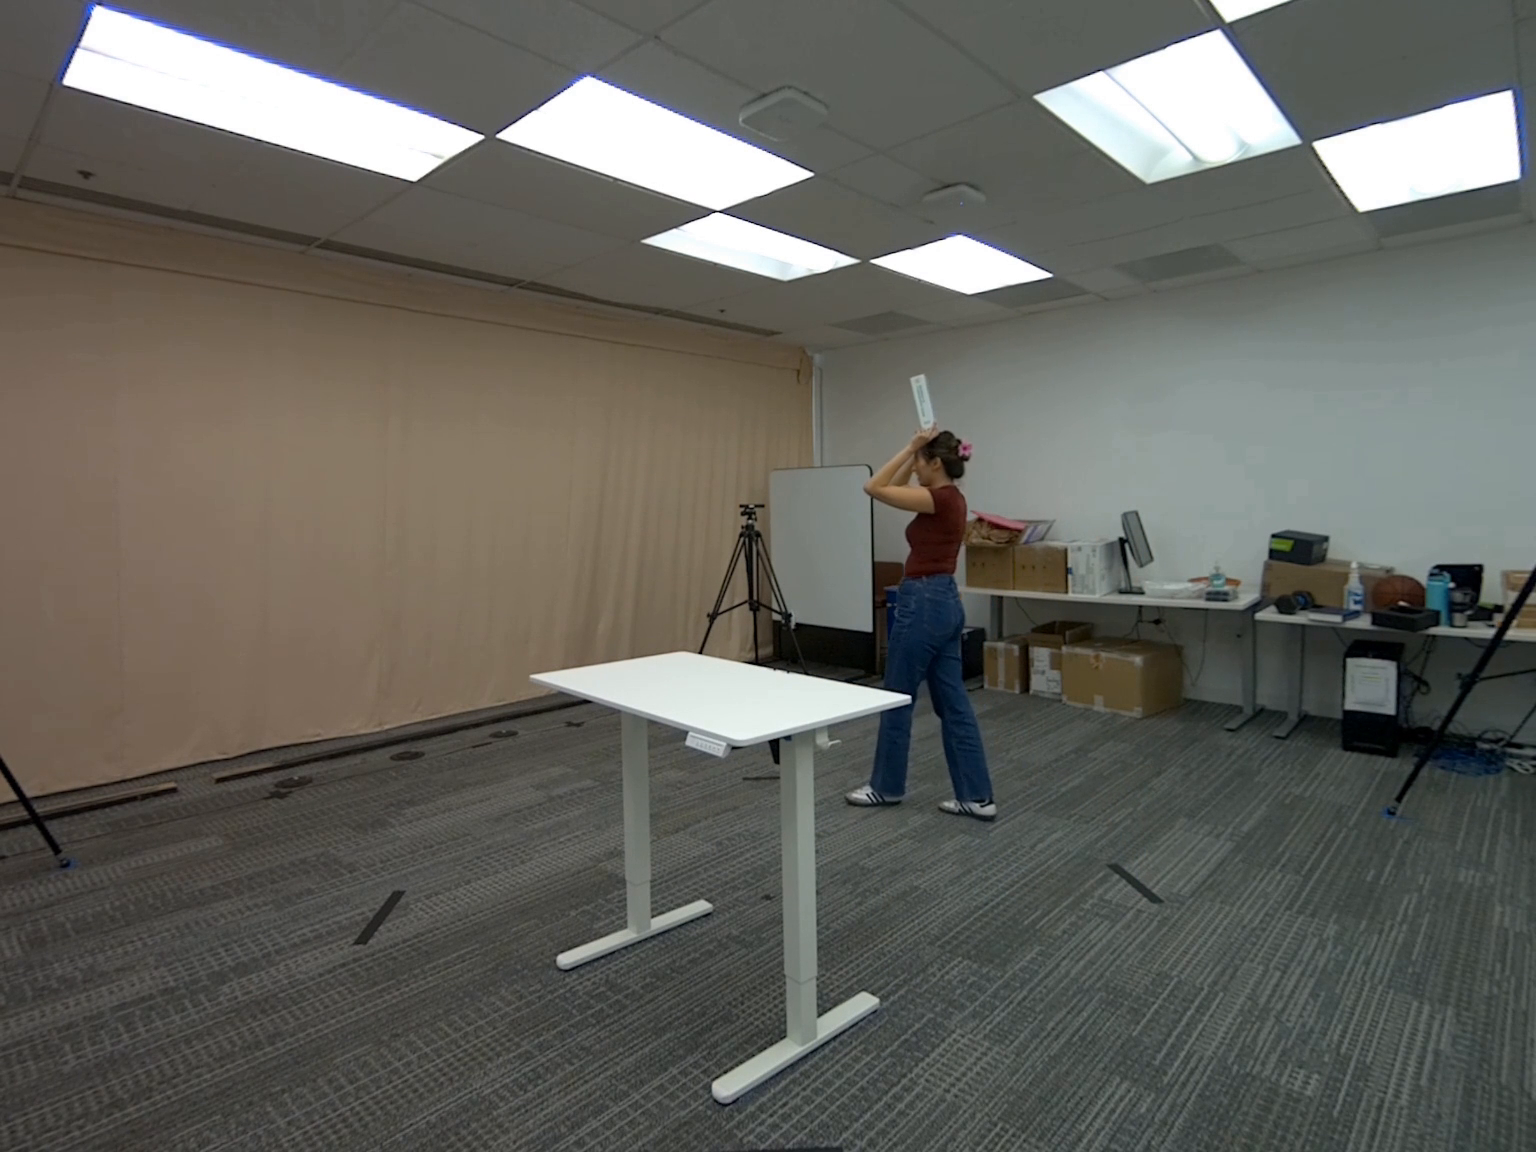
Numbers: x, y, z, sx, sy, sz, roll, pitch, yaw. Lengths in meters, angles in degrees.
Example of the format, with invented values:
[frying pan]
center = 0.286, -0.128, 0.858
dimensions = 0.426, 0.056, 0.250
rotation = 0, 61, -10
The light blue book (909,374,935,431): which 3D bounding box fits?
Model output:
[light blue book]
center = 0.697, -0.746, 3.722
dimensions = 0.060, 0.261, 0.189
rotation = -12, 2, 15
